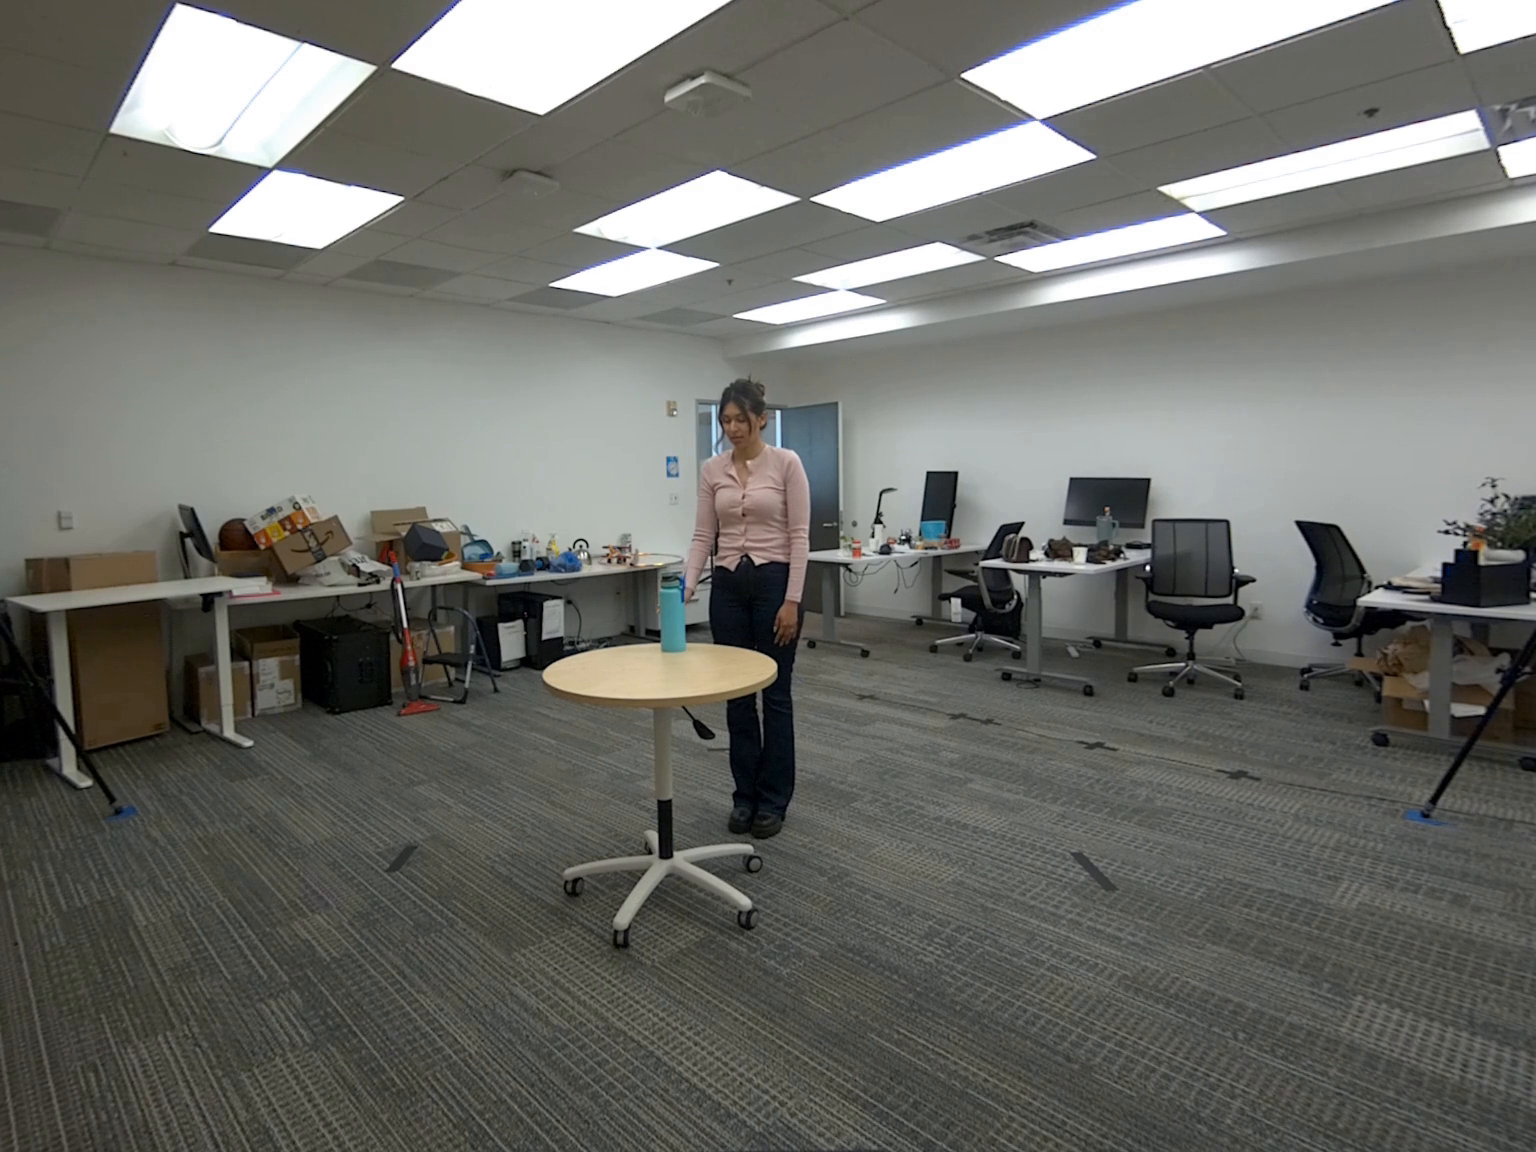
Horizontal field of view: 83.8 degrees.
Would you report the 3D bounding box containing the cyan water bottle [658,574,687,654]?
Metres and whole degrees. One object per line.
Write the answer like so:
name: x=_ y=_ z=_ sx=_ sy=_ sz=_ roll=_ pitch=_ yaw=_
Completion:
cyan water bottle: x=-0.344 y=0.130 z=3.062 sx=0.092 sy=0.282 sz=0.093 roll=-2 pitch=3 yaw=-1
